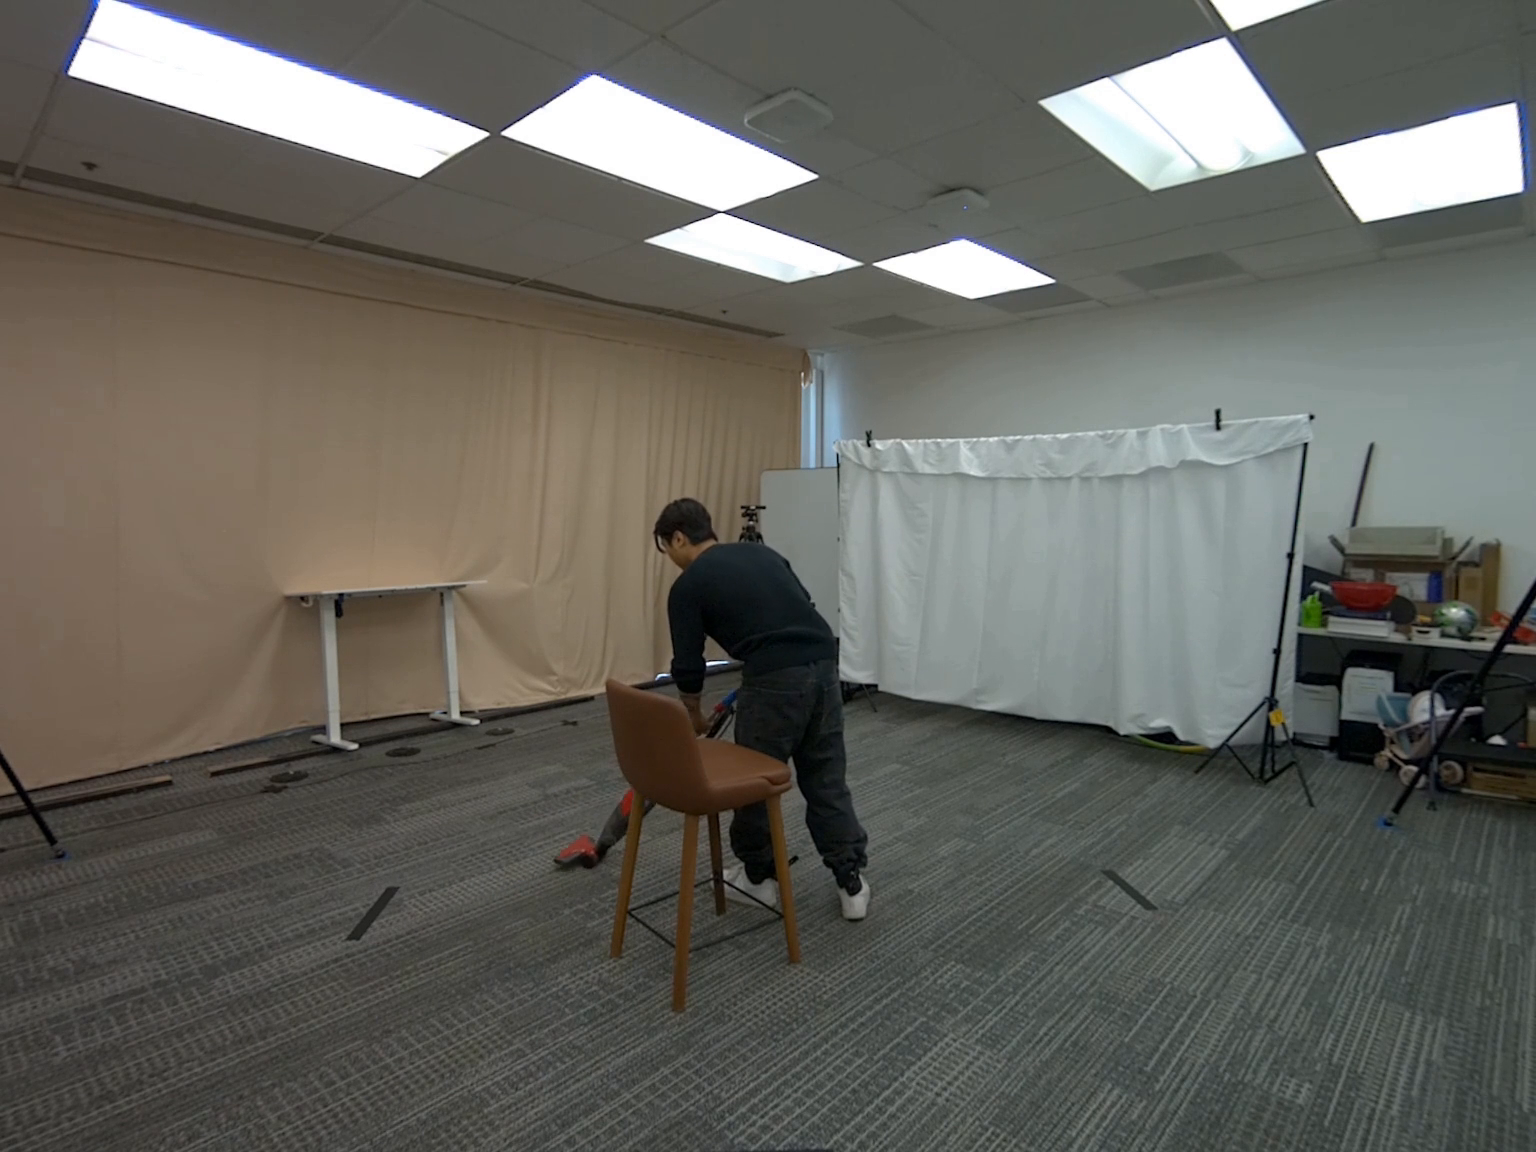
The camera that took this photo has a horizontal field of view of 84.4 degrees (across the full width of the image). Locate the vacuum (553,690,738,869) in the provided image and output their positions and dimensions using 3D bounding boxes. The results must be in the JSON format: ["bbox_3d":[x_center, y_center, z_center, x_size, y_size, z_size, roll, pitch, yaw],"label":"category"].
[{"bbox_3d":[-0.372,0.739,3.190,1.053,0.146,0.248,-46,-12,14],"label":"vacuum"}]
